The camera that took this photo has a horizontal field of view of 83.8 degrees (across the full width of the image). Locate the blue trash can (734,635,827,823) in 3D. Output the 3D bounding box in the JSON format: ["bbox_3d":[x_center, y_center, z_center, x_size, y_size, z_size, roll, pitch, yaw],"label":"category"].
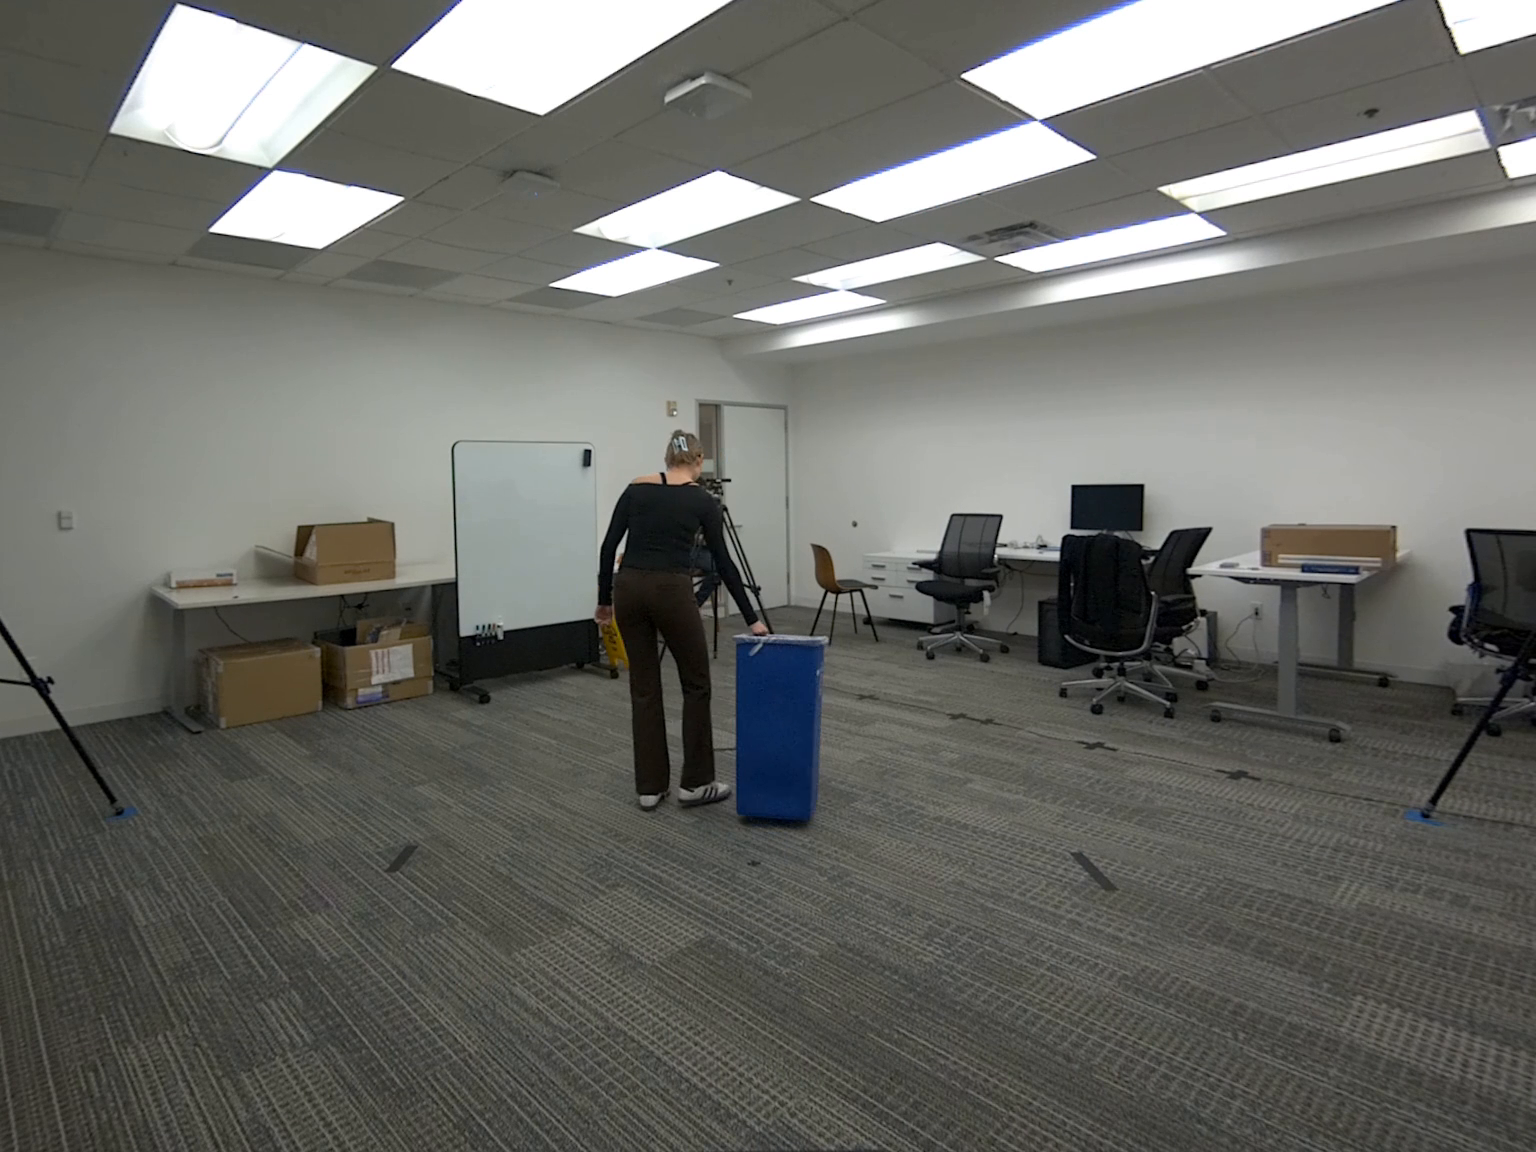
[{"bbox_3d":[0.041,0.611,3.594,0.382,0.716,0.369,0,-3,10],"label":"blue trash can"}]
